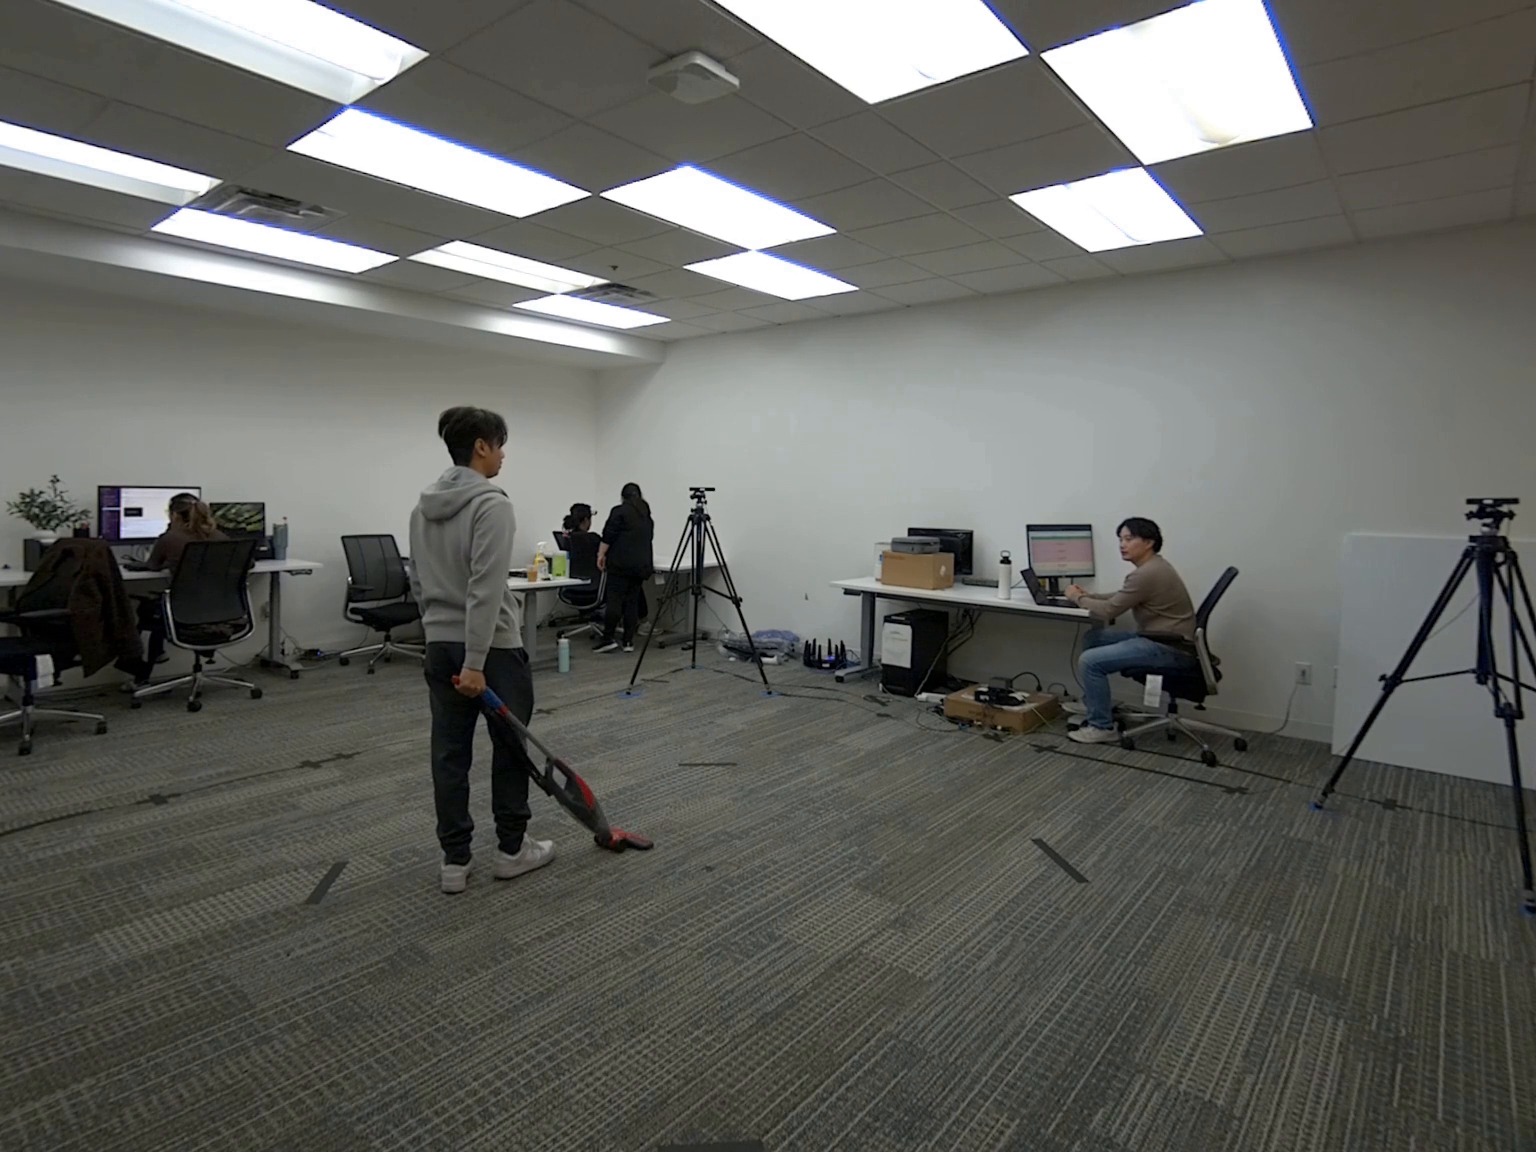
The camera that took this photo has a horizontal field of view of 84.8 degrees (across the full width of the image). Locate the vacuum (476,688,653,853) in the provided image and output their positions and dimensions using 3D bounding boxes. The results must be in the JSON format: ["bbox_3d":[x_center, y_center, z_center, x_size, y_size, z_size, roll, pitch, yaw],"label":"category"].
[{"bbox_3d":[-0.771,0.689,3.032,0.259,0.146,1.009,-5,-46,29],"label":"vacuum"}]
